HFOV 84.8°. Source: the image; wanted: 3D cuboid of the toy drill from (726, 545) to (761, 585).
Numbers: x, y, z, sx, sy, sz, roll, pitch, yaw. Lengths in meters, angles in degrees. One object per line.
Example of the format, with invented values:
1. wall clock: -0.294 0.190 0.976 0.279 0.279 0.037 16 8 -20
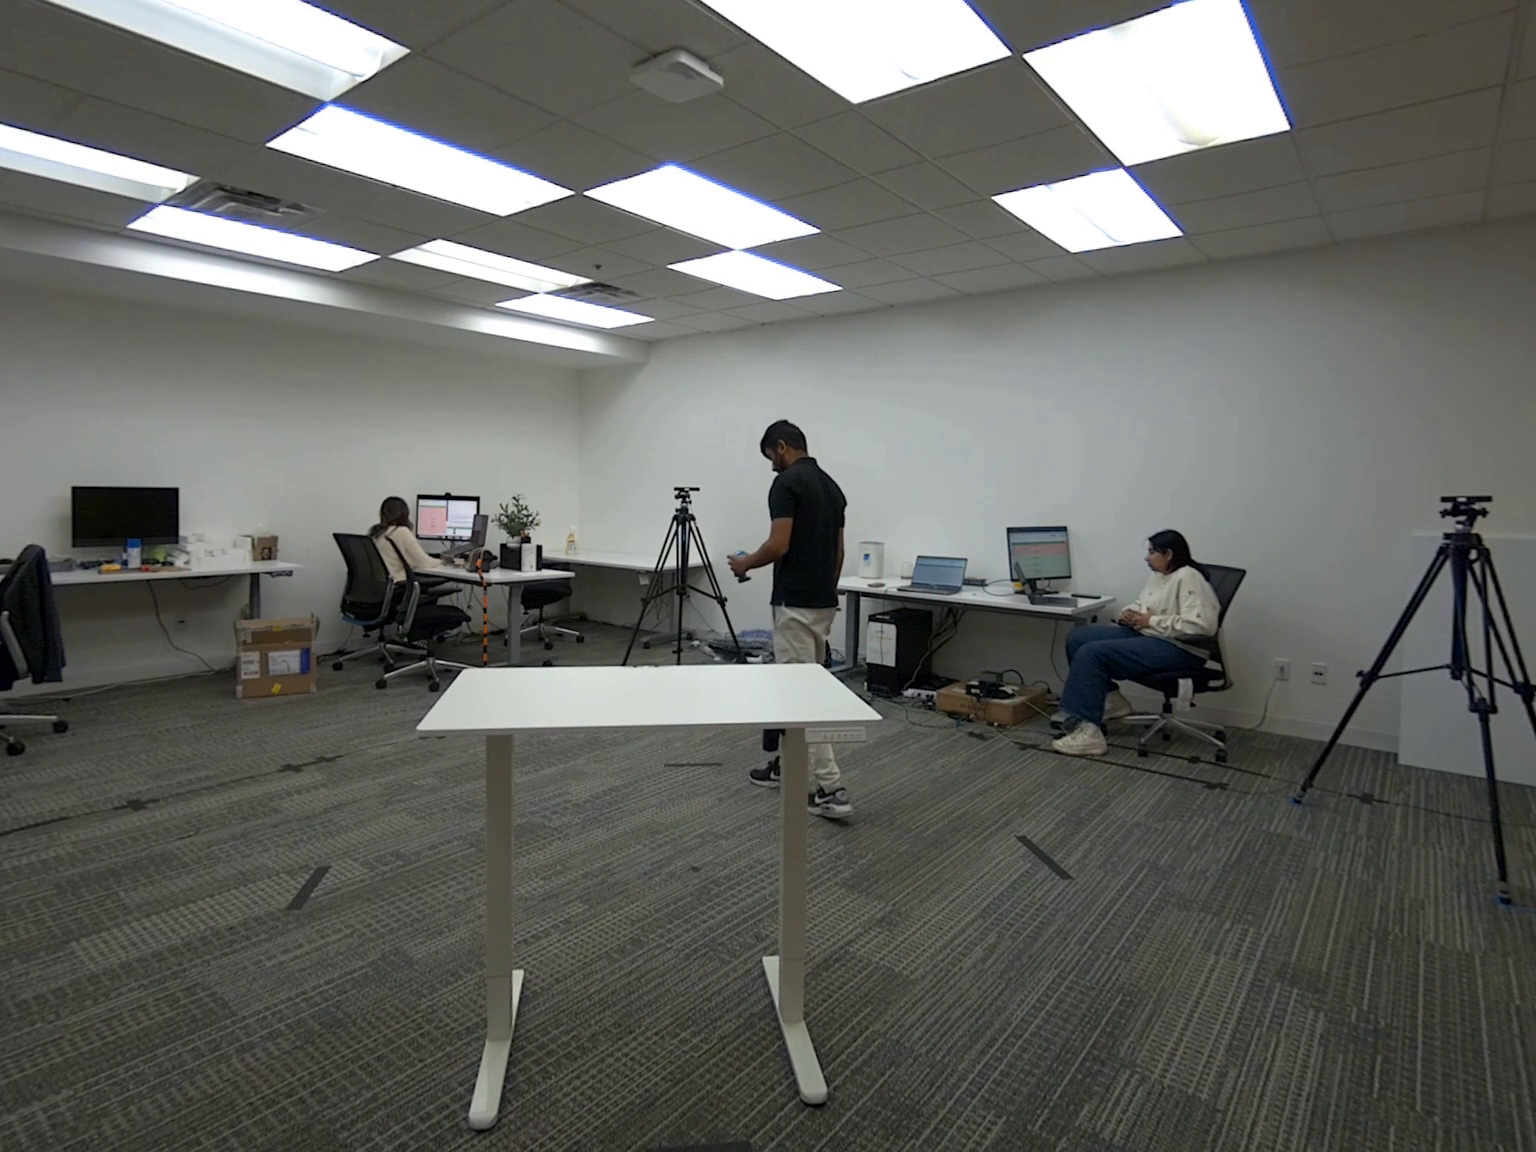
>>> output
1. toy drill: -0.116 -0.054 3.947 0.062 0.146 0.167 -19 1 23
